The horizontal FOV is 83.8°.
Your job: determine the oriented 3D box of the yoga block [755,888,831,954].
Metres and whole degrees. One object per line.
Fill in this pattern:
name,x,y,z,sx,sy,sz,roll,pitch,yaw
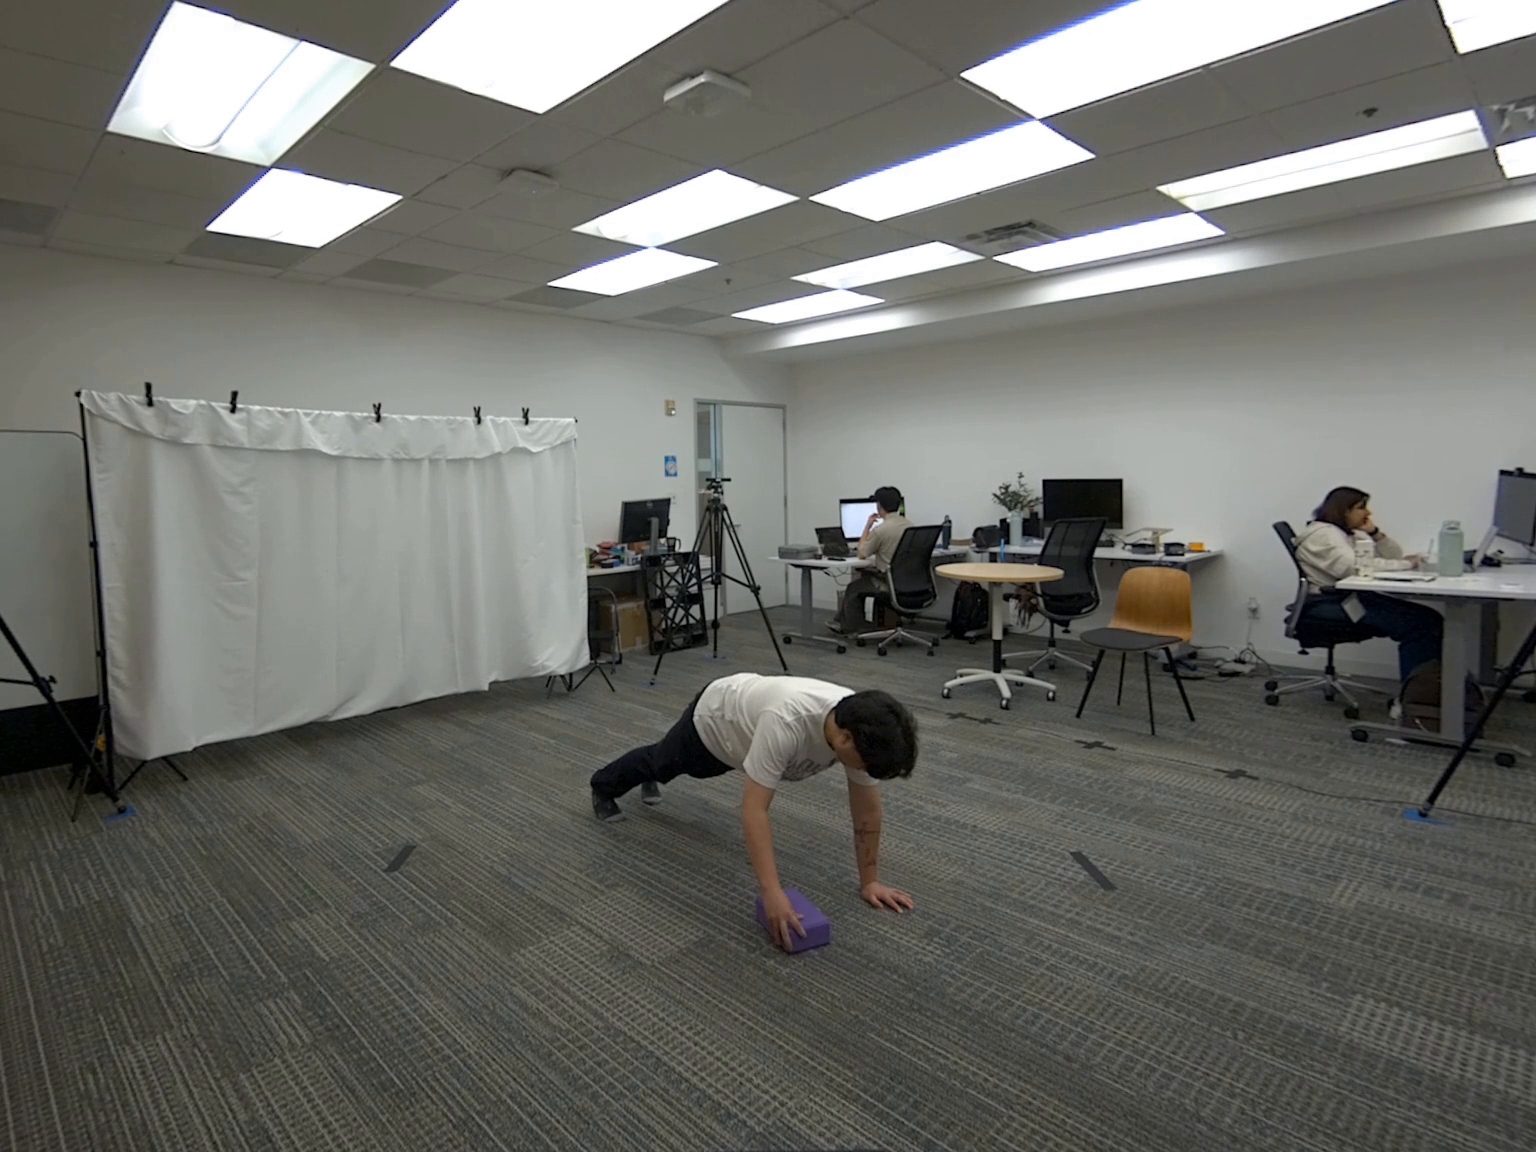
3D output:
yoga block,0.080,1.055,2.635,0.146,0.076,0.235,-4,8,-23
